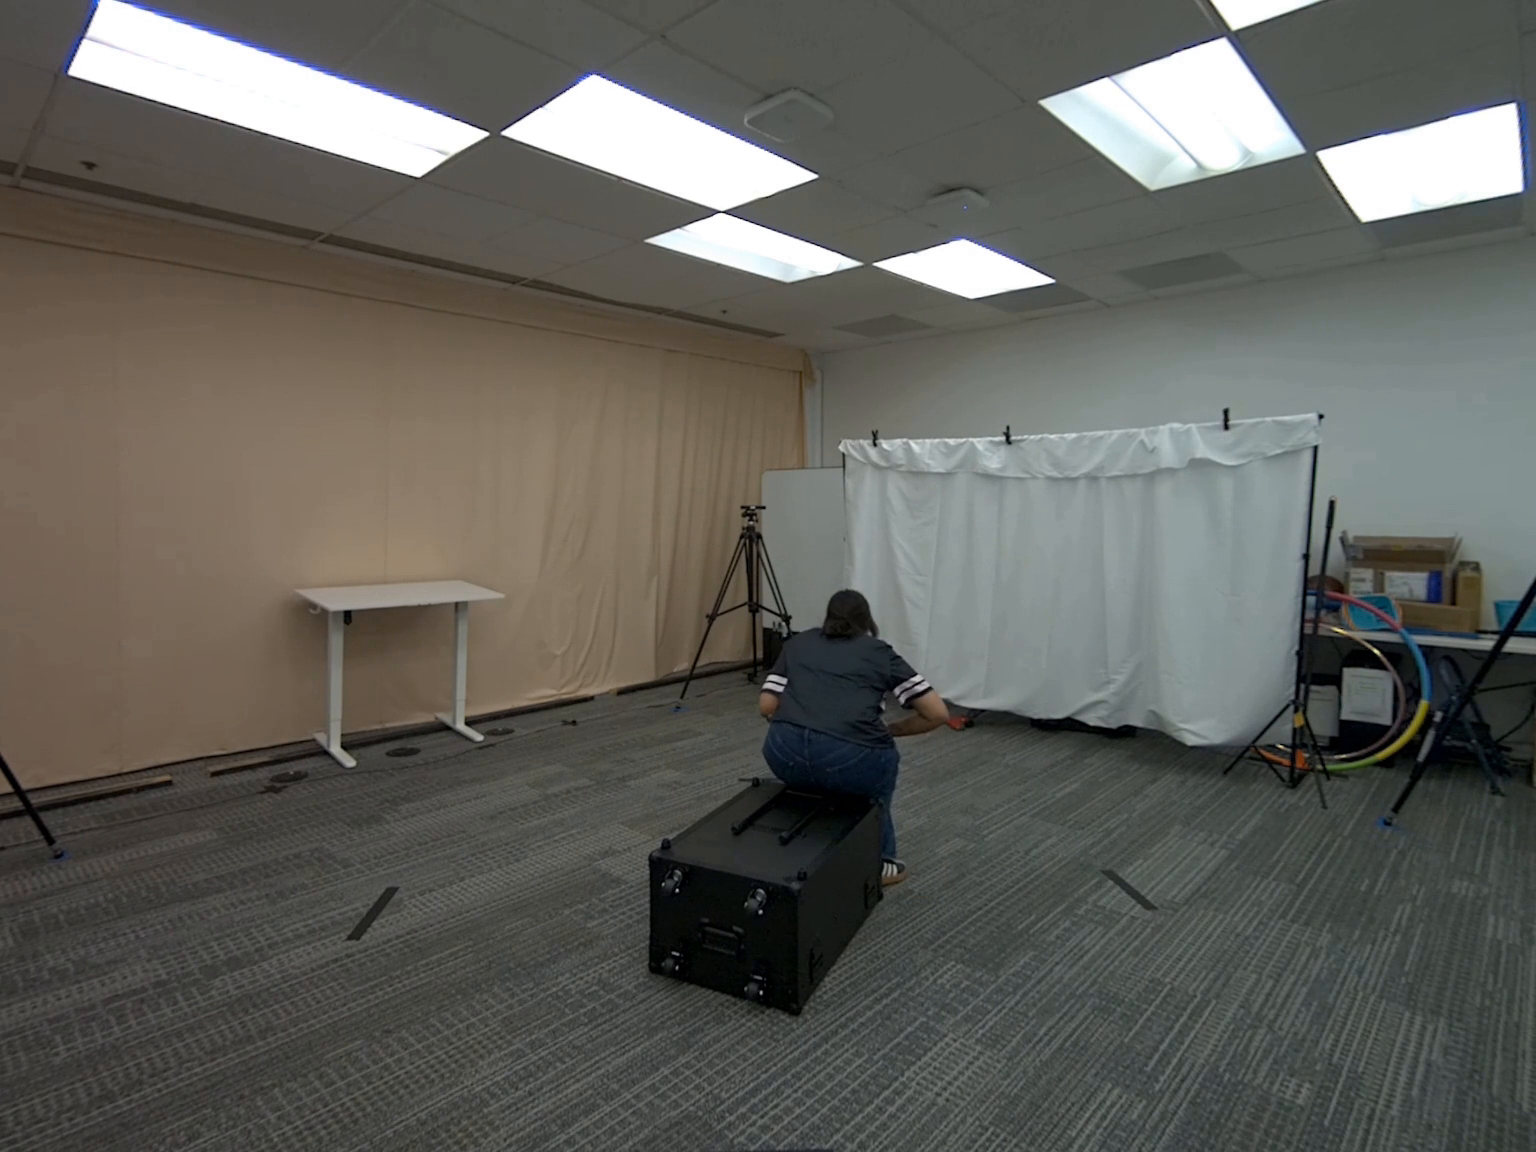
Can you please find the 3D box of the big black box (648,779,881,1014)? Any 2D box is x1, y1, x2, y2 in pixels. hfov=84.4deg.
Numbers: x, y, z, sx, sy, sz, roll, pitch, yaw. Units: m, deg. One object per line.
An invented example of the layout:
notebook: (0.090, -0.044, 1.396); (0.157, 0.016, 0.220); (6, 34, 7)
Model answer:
big black box: (0.017, 0.982, 2.700); (0.537, 0.384, 0.848); (3, 6, 25)
